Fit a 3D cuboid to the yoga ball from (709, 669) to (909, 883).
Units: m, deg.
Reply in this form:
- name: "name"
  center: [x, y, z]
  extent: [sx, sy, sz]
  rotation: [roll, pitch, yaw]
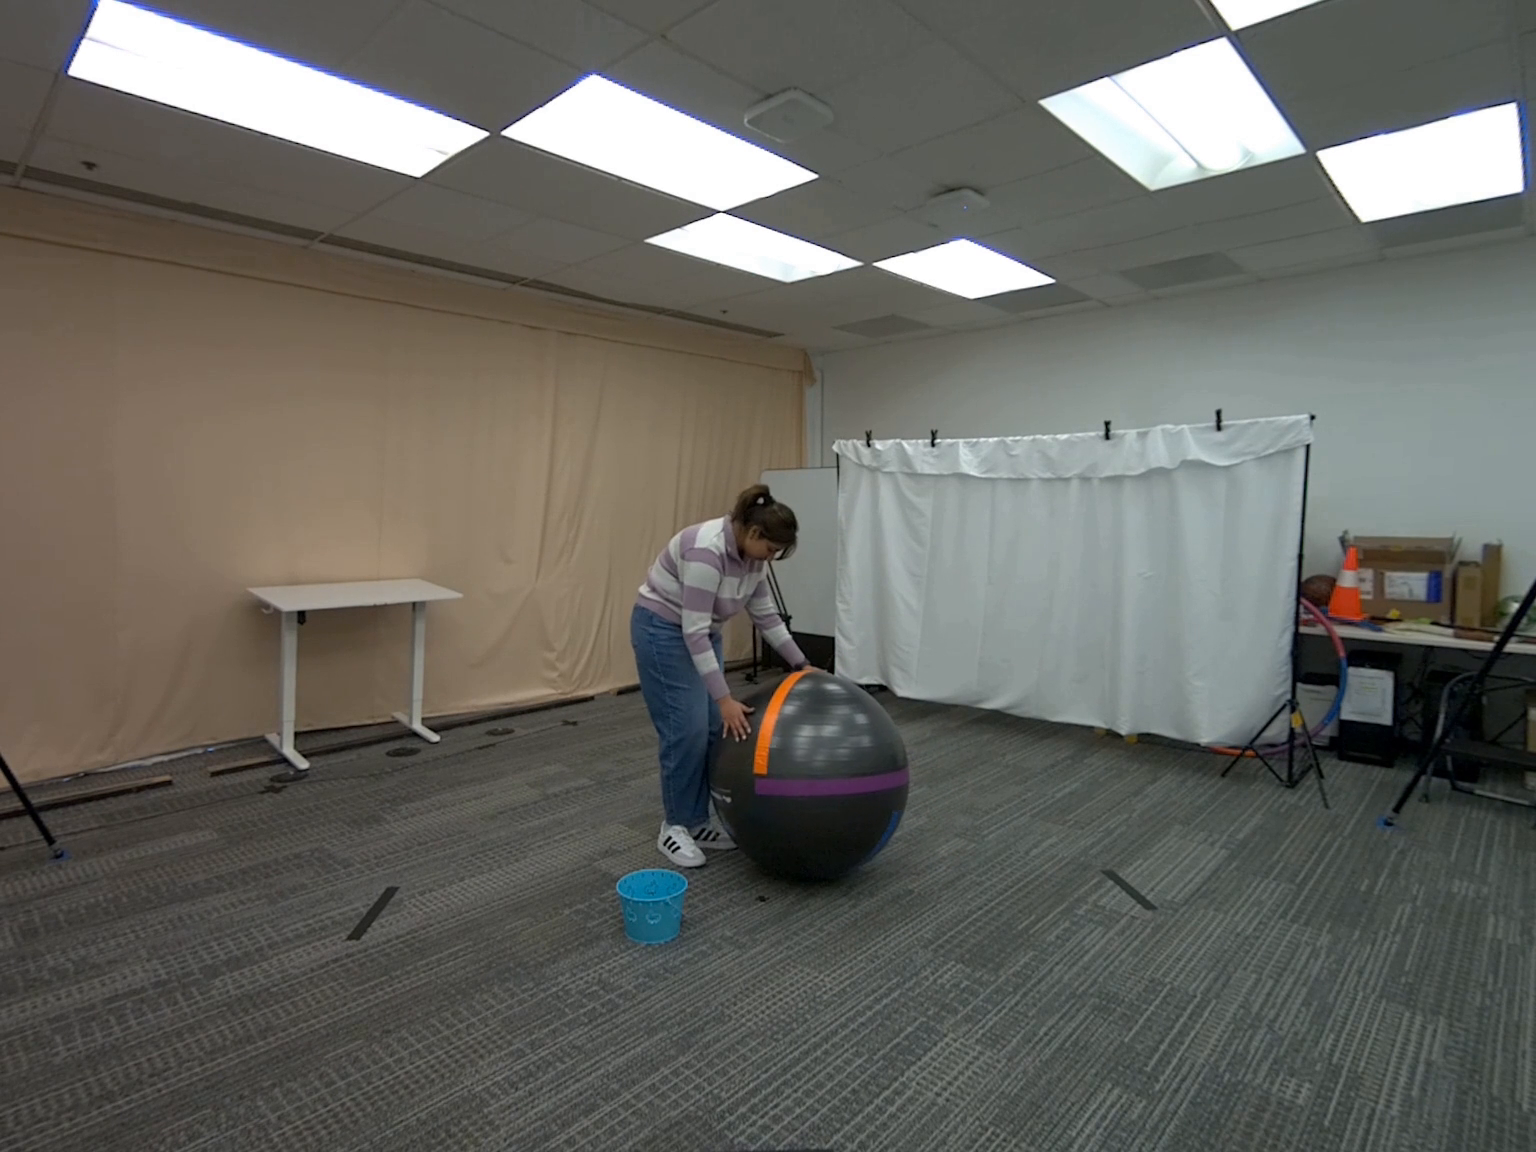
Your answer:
- name: "yoga ball"
  center: [0.153, 0.758, 3.220]
  extent: [0.757, 0.756, 0.760]
  rotation: [0, 4, -2]
